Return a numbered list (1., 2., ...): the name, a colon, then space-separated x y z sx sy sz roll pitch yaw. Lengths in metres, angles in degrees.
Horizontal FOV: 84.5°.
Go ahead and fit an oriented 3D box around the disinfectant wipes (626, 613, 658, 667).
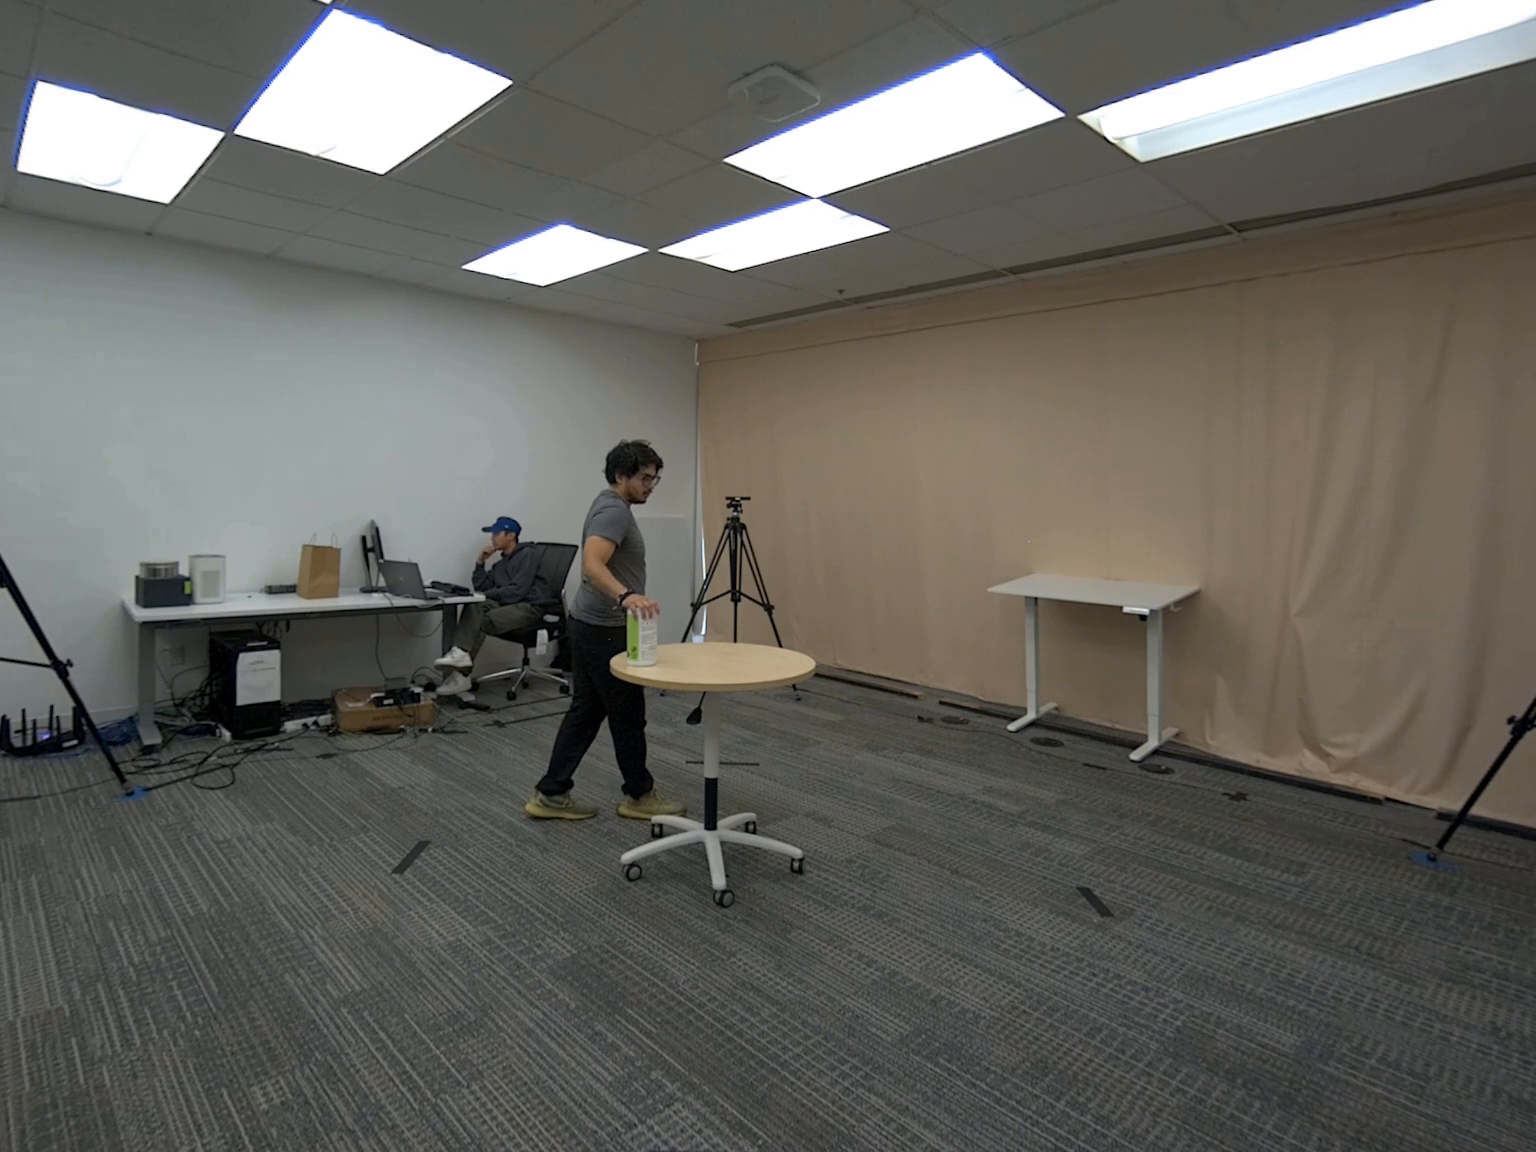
1. disinfectant wipes: -0.464 0.217 3.074 0.118 0.217 0.118 -1 4 -1
